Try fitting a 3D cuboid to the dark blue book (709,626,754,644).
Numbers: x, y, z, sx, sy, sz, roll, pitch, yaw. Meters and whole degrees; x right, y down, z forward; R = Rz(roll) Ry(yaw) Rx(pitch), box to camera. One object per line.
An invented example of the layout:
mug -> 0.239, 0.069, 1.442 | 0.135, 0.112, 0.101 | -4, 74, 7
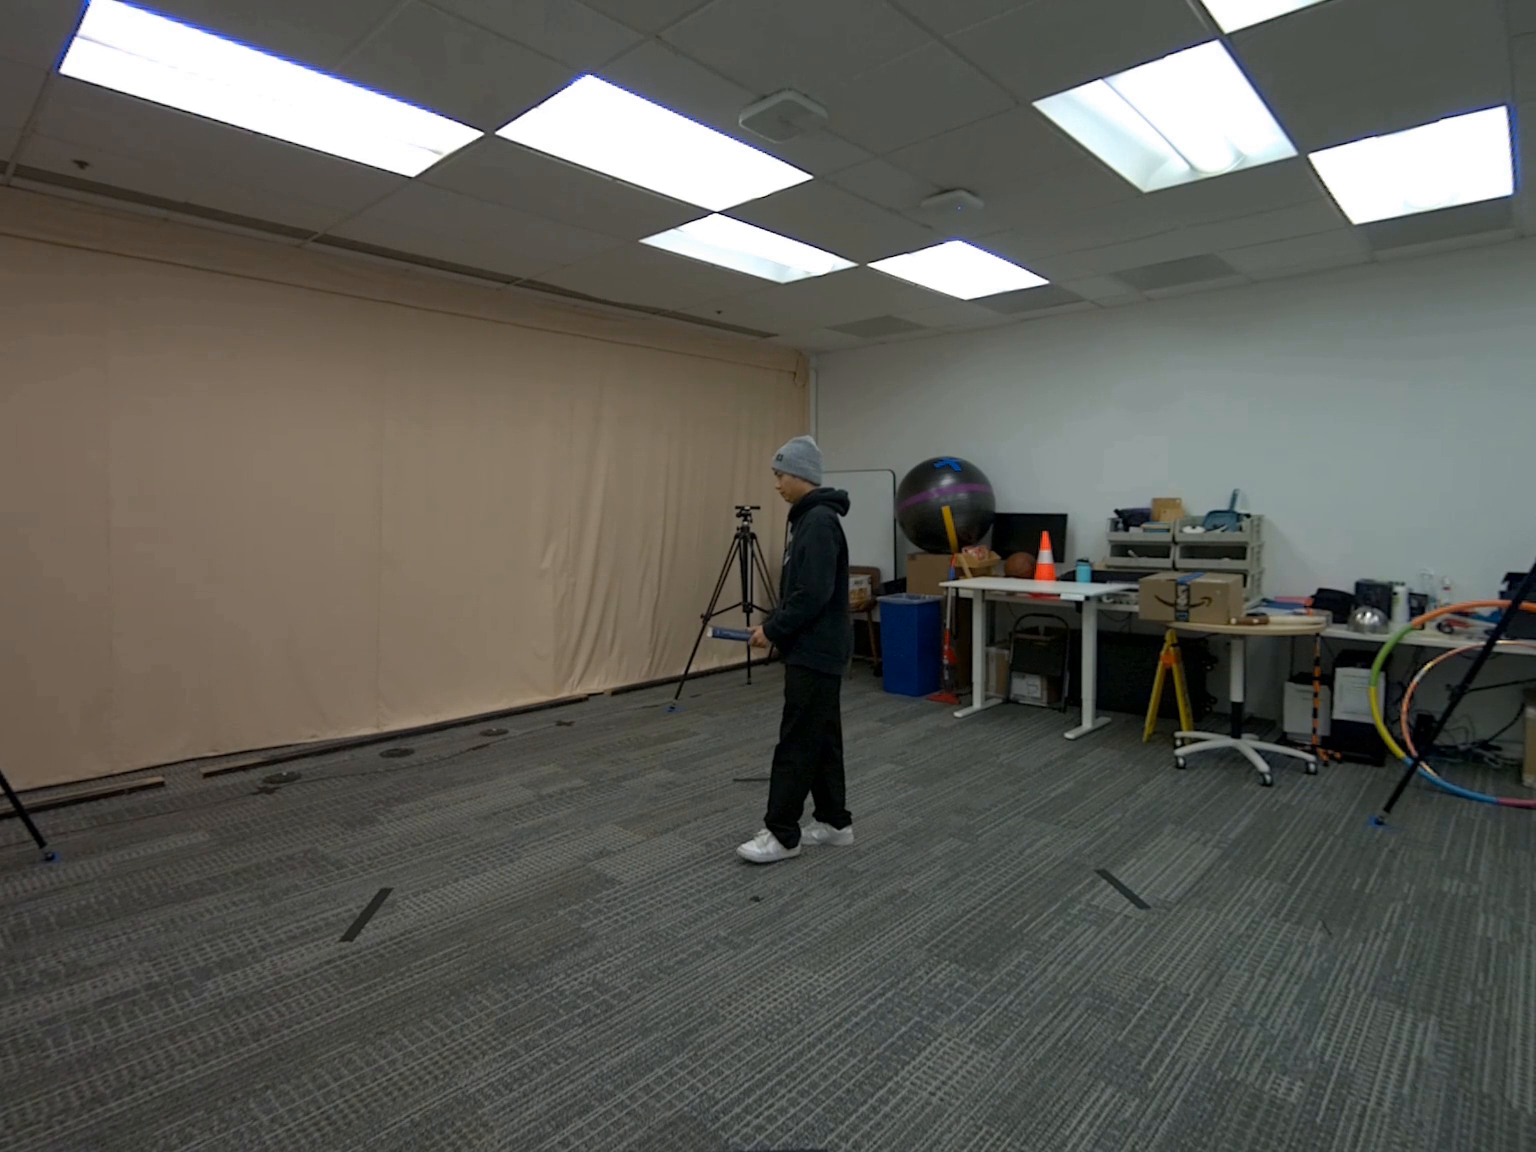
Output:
dark blue book -> -0.107, 0.241, 3.406 | 0.244, 0.045, 0.164 | 7, -3, -5
